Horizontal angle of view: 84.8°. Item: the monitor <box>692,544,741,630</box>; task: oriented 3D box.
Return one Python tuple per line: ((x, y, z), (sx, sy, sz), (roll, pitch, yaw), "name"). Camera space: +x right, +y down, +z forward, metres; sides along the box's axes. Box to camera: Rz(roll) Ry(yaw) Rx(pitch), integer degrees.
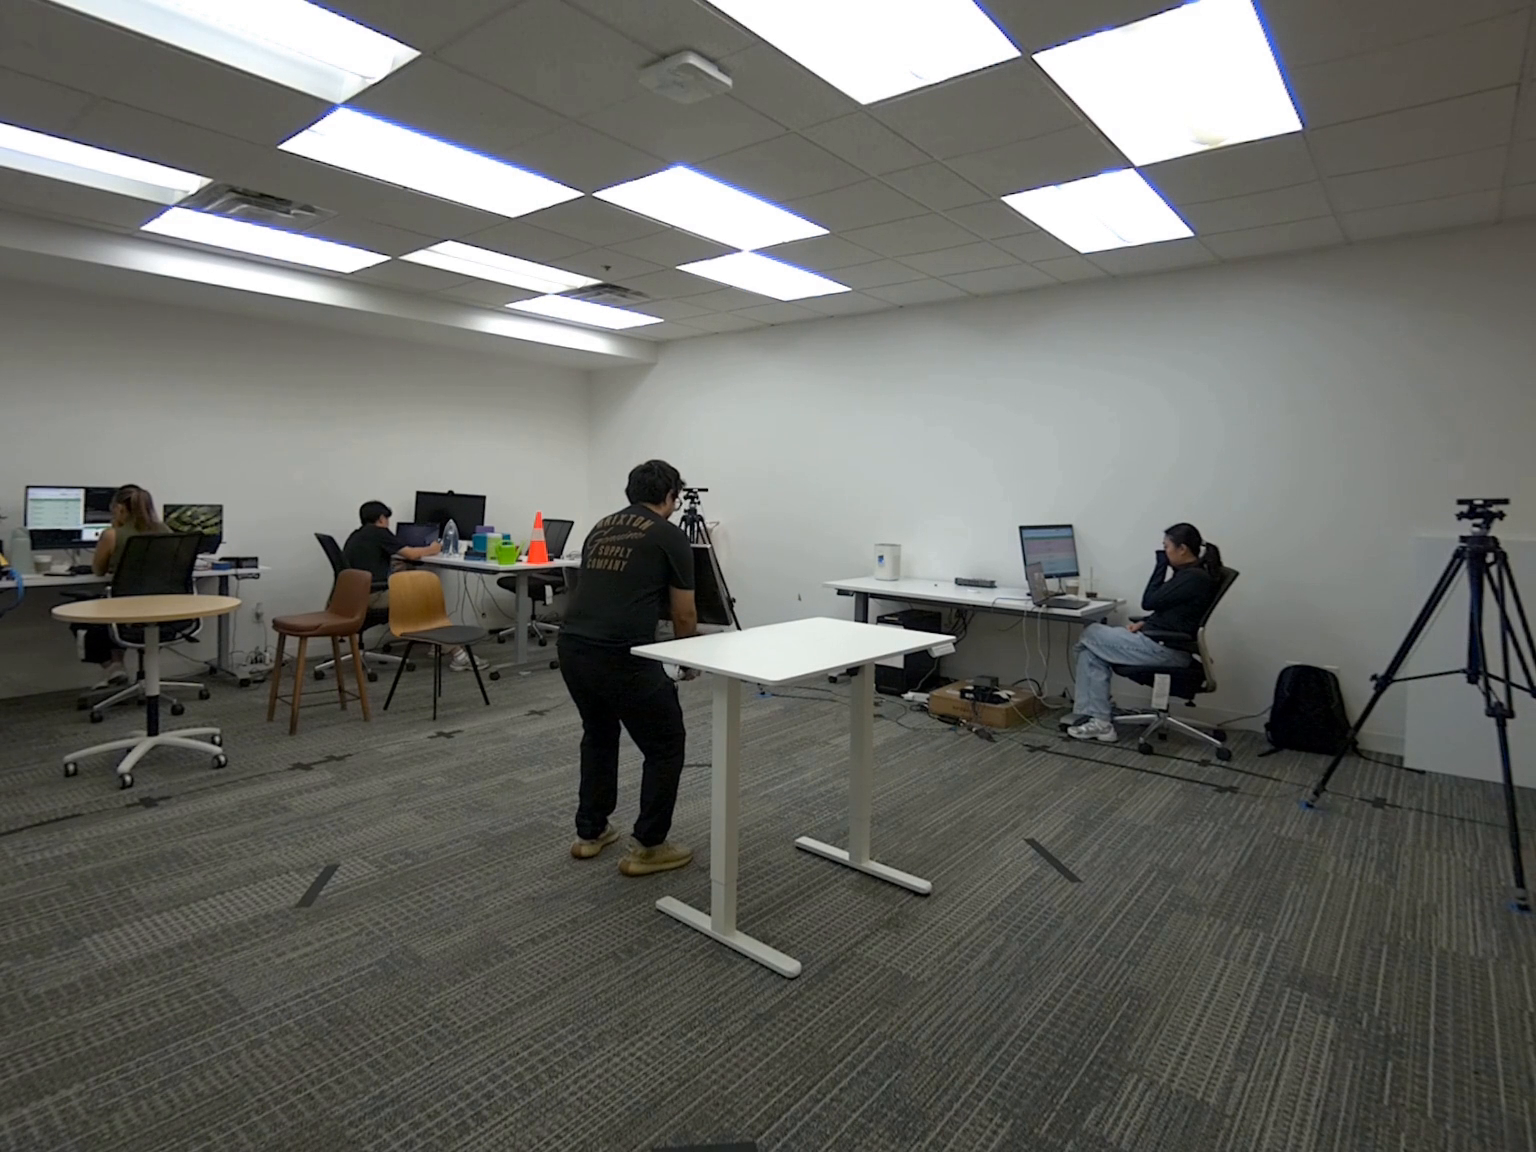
((-0.454, 0.135, 3.382), (0.582, 0.542, 0.208), (3, 23, 31), "monitor")
